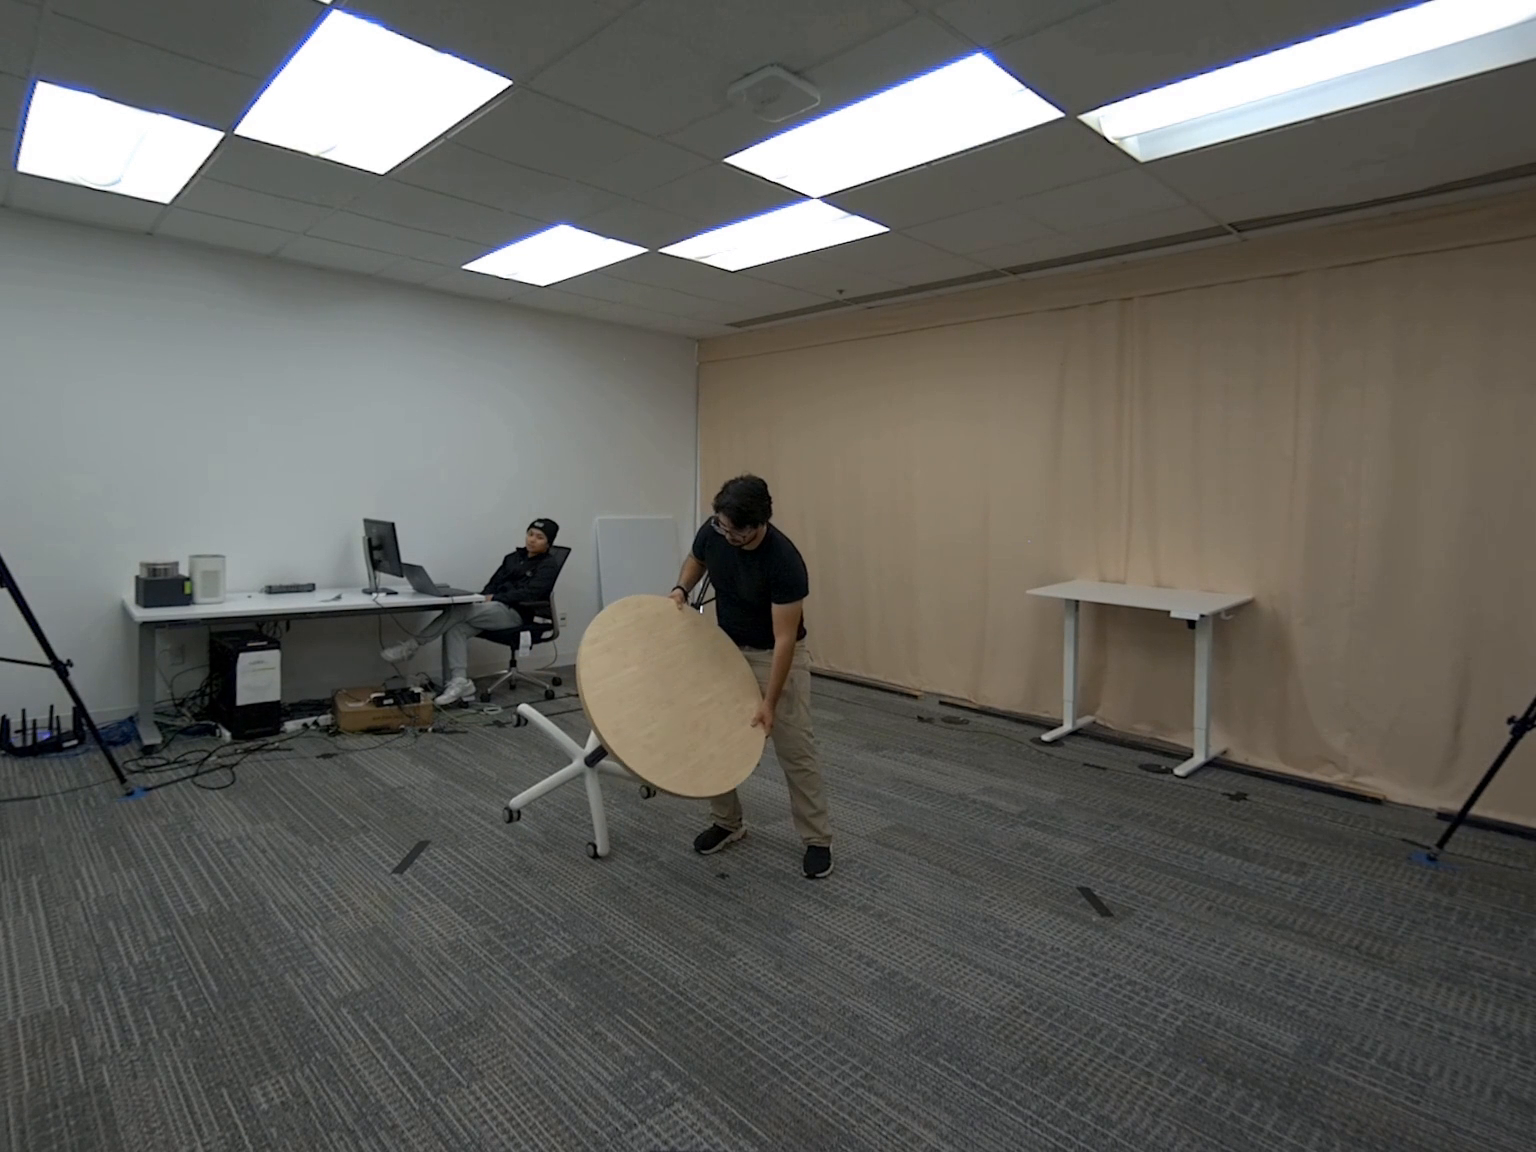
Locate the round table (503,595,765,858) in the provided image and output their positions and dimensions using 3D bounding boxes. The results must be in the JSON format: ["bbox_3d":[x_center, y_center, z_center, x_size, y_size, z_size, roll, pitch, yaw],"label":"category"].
[{"bbox_3d":[-0.561,0.587,3.170,0.767,0.801,0.788,-3,-30,-46],"label":"round table"}]
